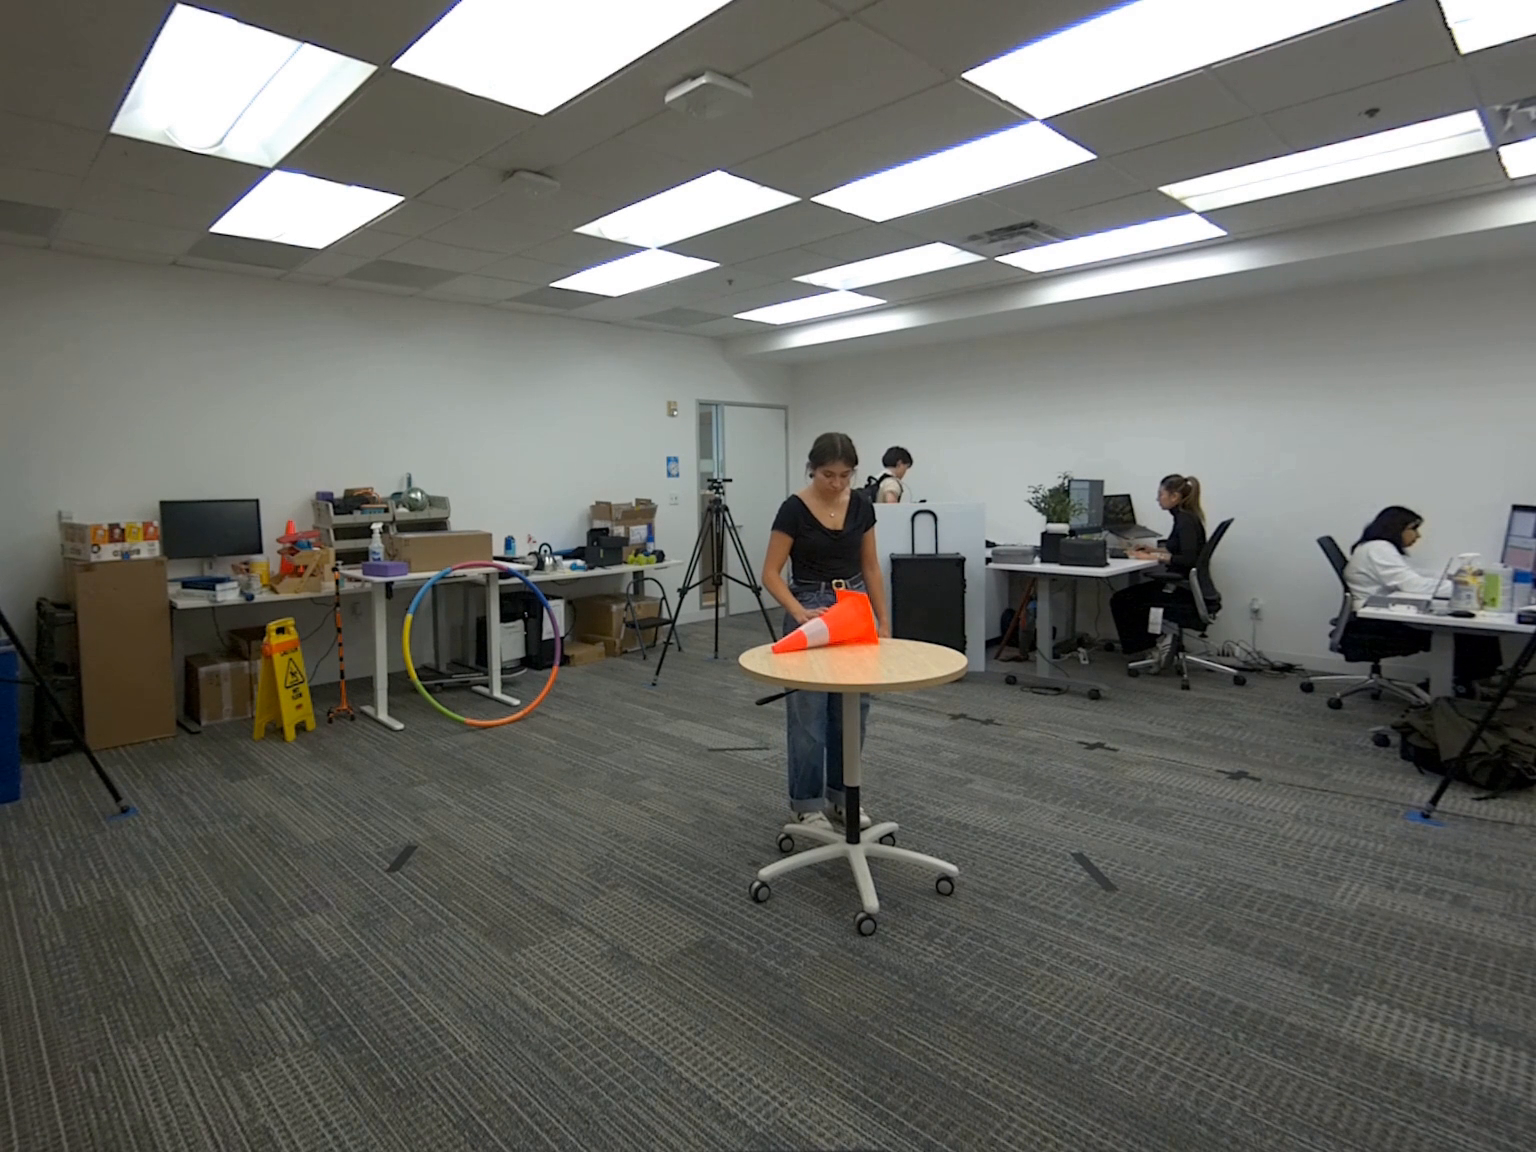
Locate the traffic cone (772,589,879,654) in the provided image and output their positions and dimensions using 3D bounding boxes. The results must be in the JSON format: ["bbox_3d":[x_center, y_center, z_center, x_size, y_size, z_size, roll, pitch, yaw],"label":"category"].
[{"bbox_3d":[0.173,0.208,3.106,0.377,0.202,0.209,-19,14,-29],"label":"traffic cone"}]
